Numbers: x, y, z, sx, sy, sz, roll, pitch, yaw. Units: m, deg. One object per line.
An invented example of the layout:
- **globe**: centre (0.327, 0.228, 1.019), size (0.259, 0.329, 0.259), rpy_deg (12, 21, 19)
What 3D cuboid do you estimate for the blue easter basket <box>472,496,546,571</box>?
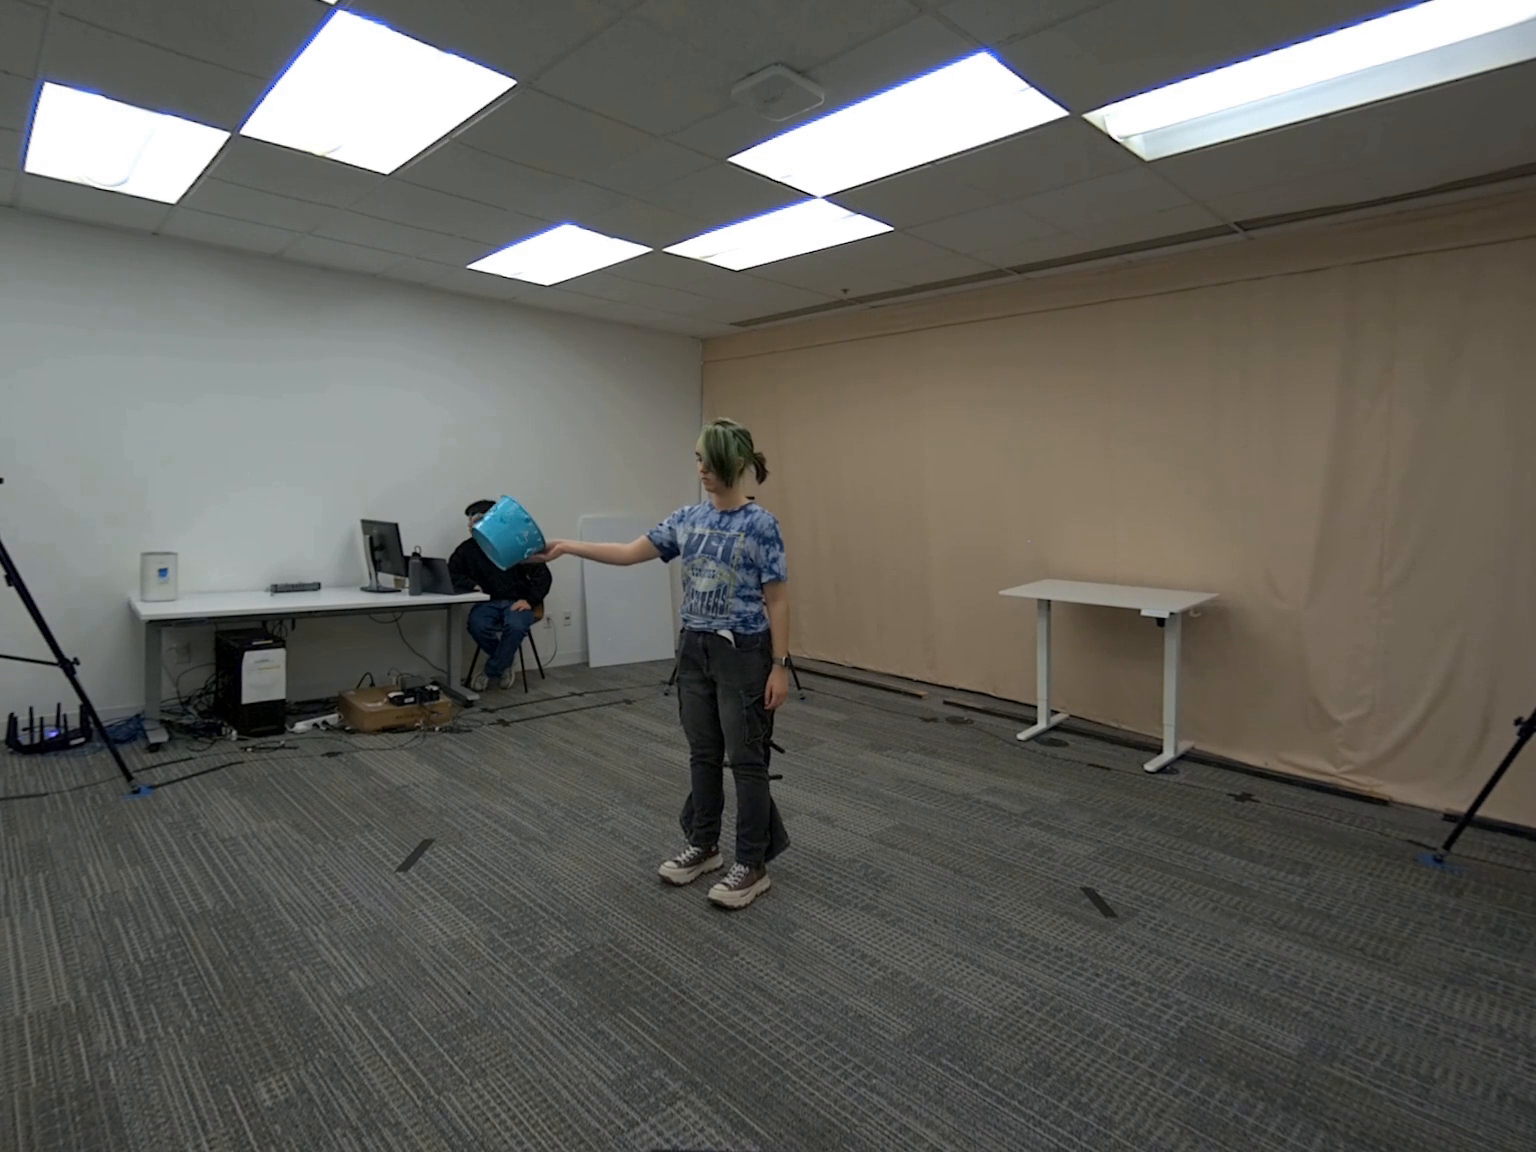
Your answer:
- **blue easter basket**: centre (-0.894, -0.129, 2.865), size (0.155, 0.238, 0.250), rpy_deg (-43, 28, -26)
